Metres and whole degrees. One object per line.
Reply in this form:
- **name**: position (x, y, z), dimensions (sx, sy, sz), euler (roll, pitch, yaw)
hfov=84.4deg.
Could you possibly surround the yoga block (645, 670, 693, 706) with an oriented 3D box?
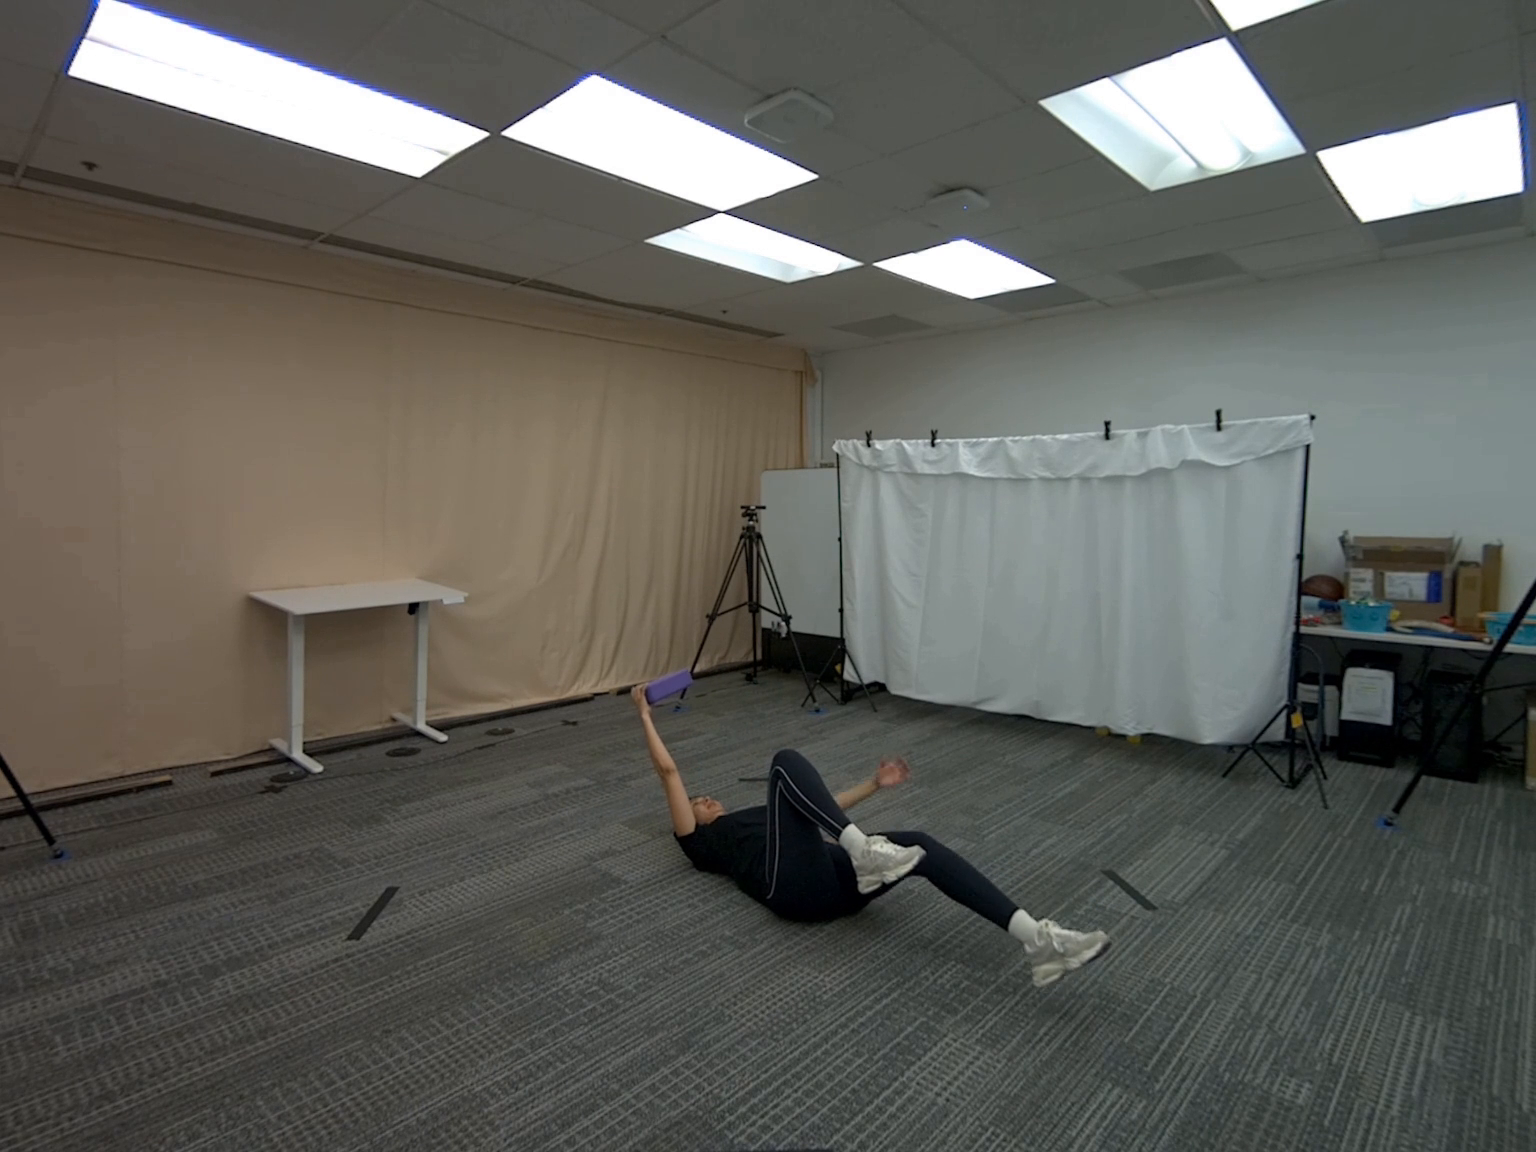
- **yoga block**: position (-0.444, 0.474, 3.598), dimensions (0.224, 0.076, 0.152), euler (-21, 0, -38)
